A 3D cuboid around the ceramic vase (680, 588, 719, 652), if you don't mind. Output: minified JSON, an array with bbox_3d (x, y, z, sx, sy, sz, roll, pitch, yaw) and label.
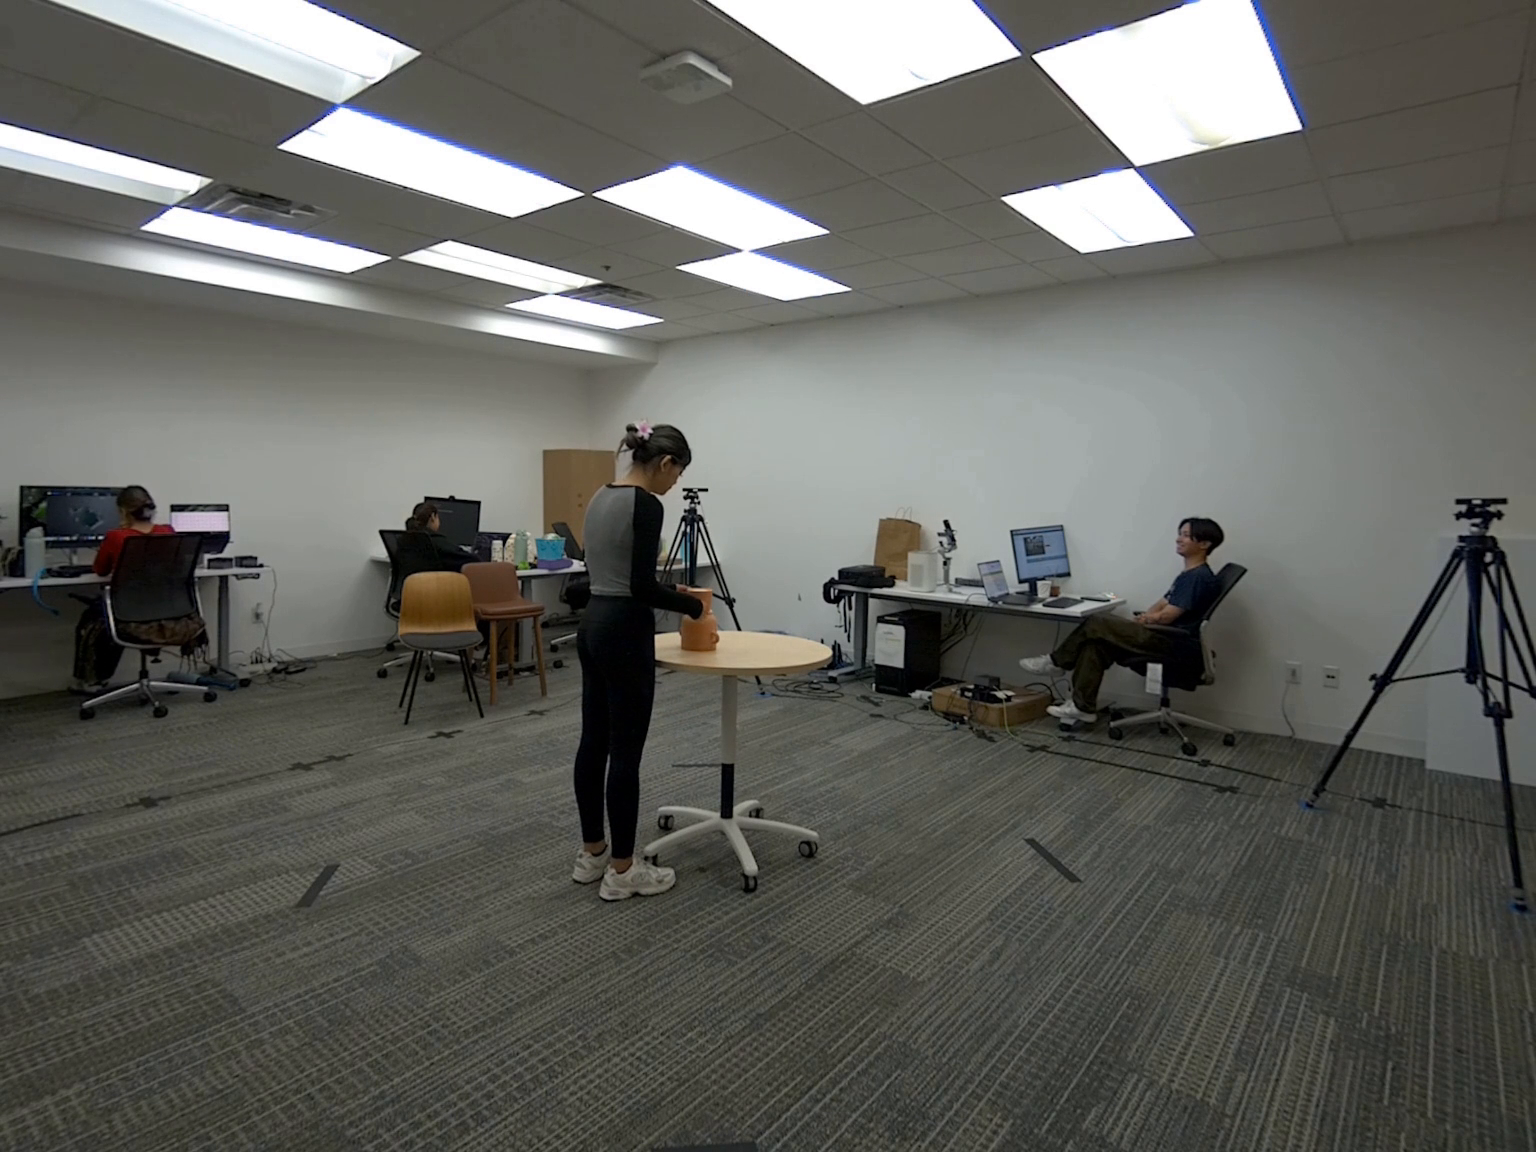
[{"bbox_3d":[-0.273,0.155,3.171,0.159,0.219,0.135,-2,5,0],"label":"ceramic vase"}]
